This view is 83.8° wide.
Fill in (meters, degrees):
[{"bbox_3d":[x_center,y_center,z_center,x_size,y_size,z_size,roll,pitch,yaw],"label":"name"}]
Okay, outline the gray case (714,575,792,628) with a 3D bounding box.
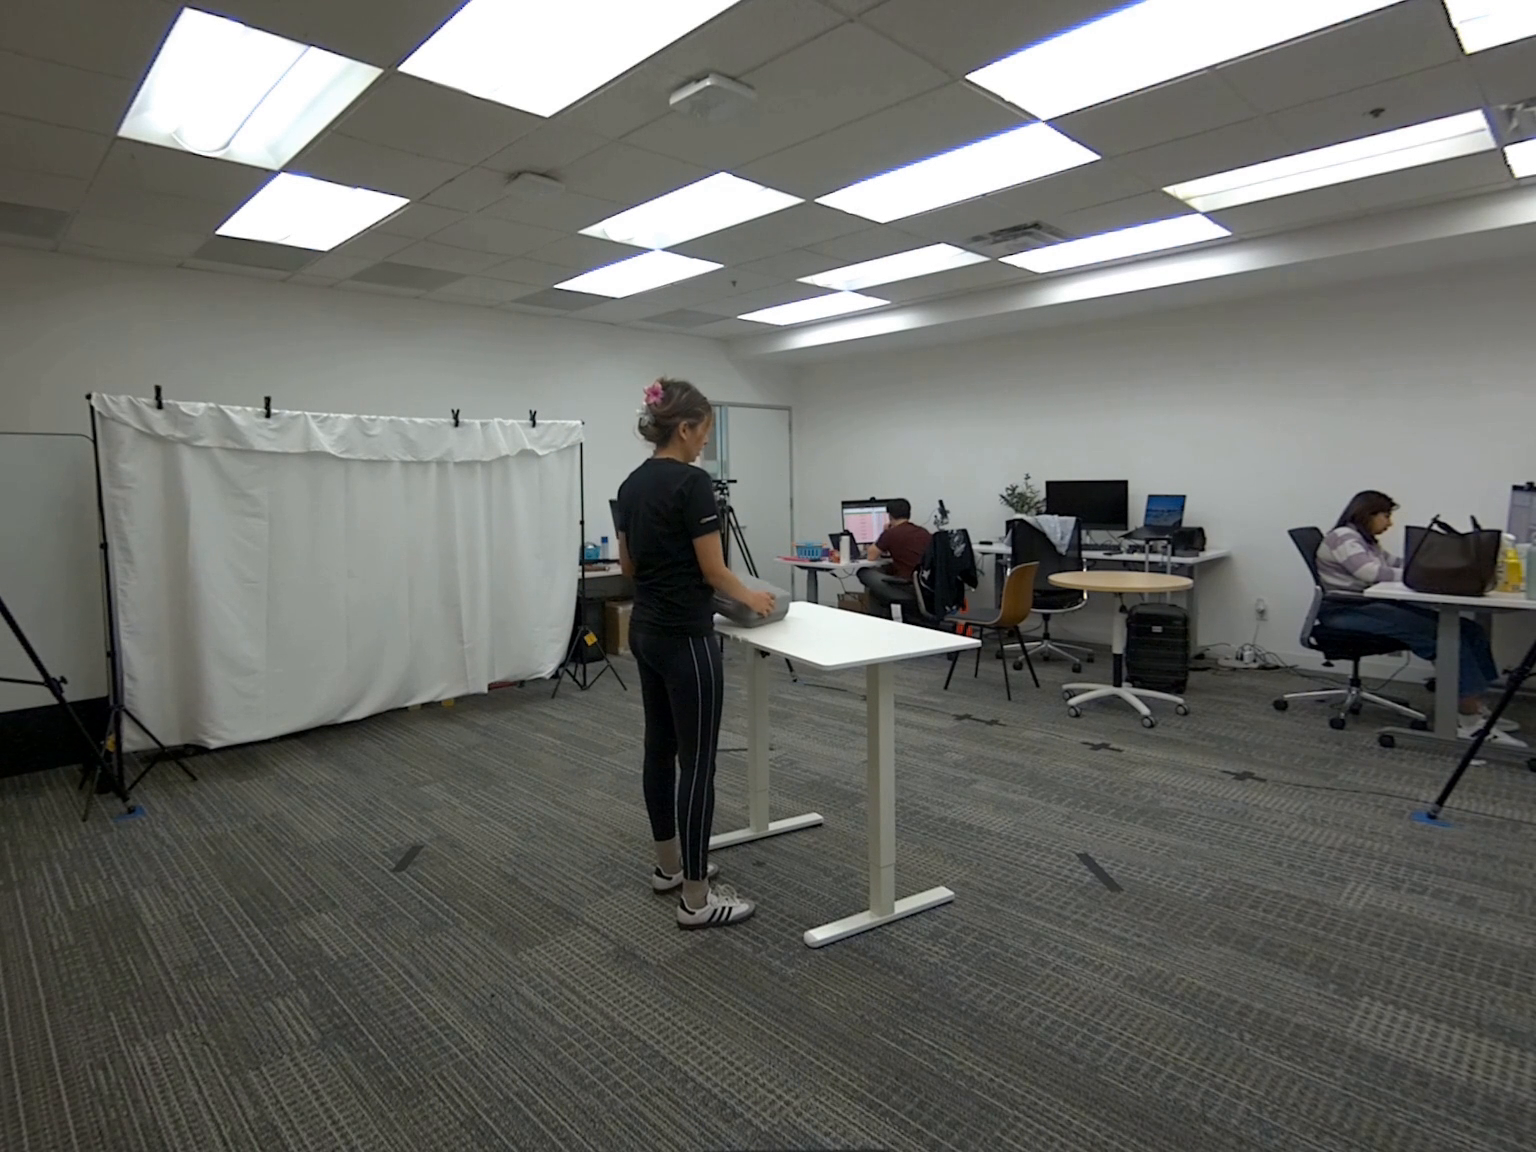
[{"bbox_3d":[-0.073,0.081,3.098,0.265,0.103,0.255,21,17,27],"label":"gray case"}]
